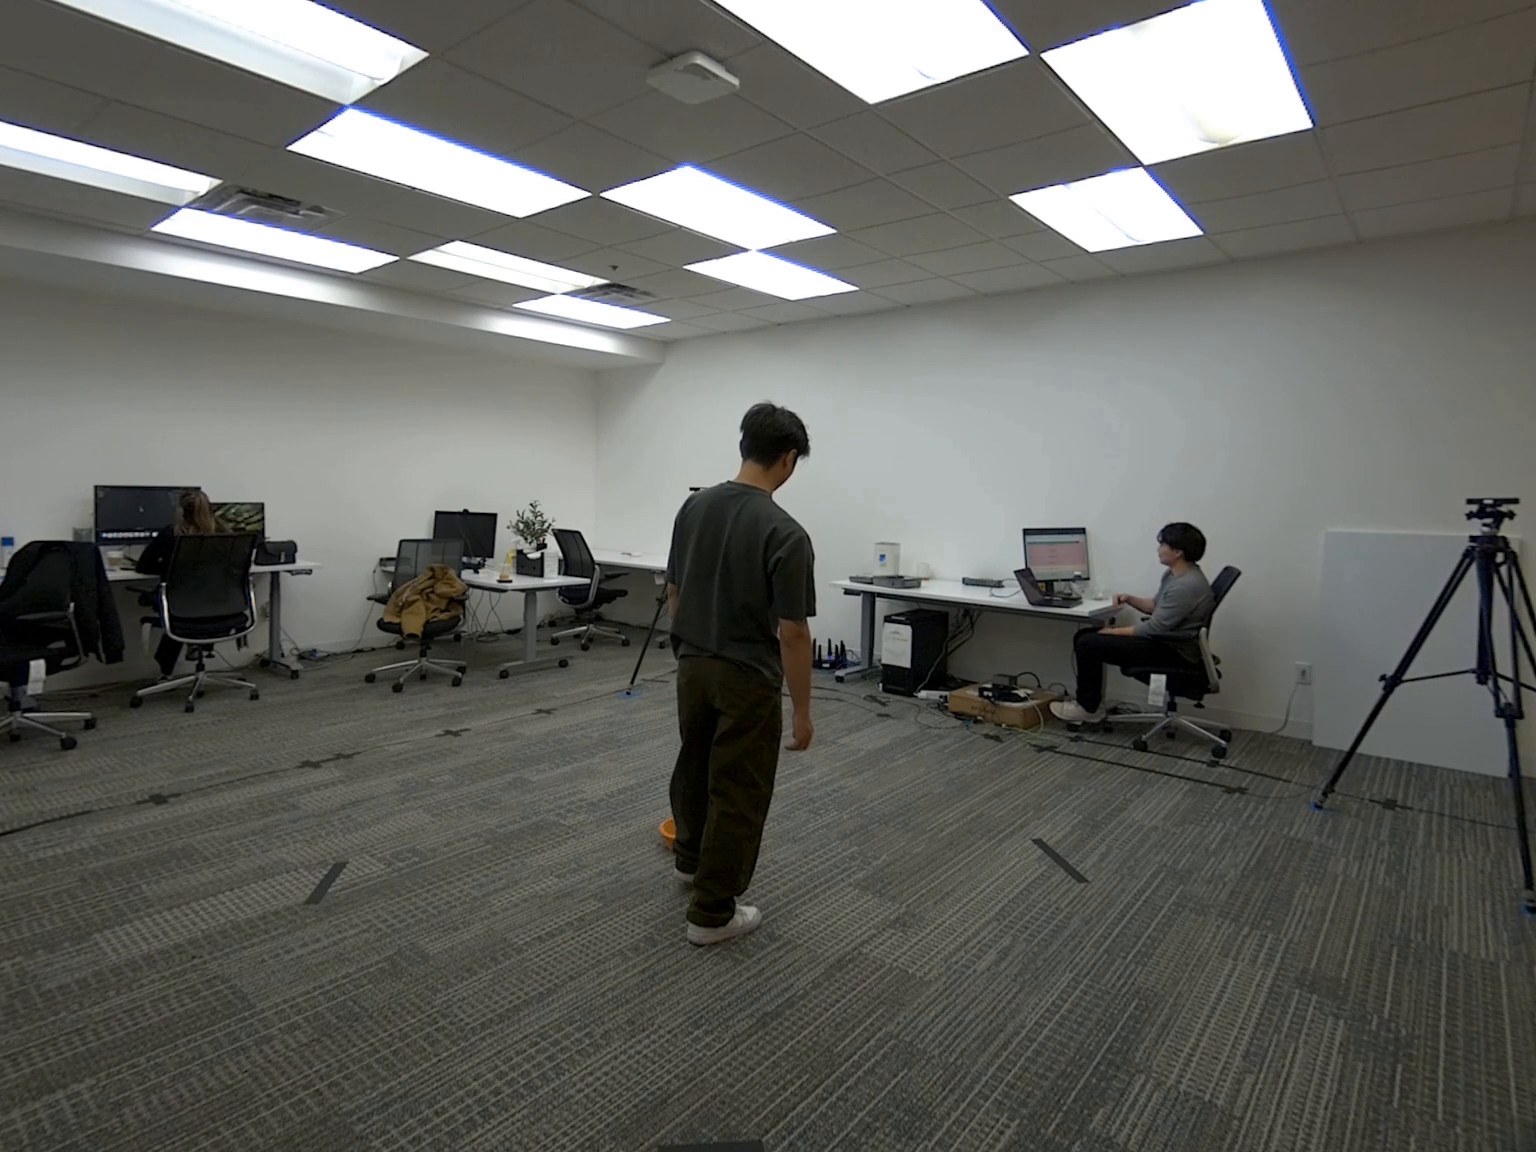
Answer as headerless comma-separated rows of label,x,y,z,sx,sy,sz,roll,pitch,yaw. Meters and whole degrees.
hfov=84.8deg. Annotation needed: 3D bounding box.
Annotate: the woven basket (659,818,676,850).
woven basket,-0.266,1.000,3.327,0.344,0.073,0.258,-1,5,-18
